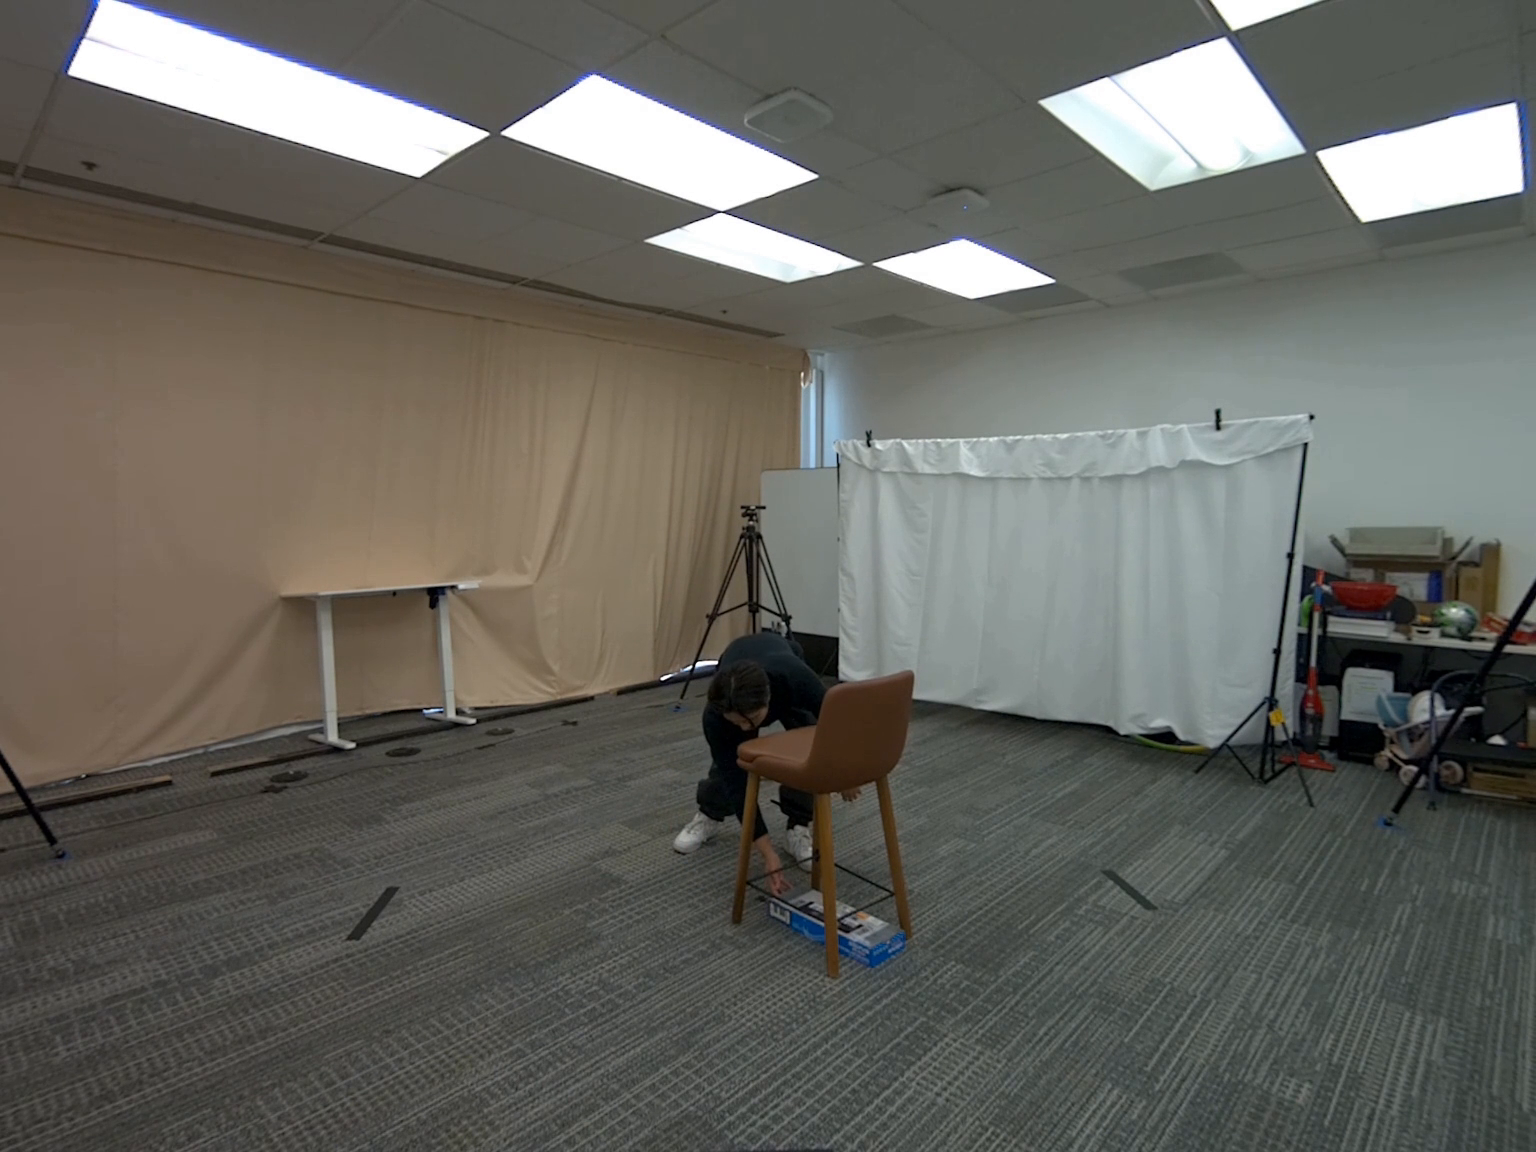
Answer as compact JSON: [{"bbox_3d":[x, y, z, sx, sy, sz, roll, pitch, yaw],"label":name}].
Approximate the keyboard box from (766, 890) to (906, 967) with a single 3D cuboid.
[{"bbox_3d":[0.219,1.129,2.753,0.170,0.059,0.451,-4,6,-43],"label":"keyboard box"}]
